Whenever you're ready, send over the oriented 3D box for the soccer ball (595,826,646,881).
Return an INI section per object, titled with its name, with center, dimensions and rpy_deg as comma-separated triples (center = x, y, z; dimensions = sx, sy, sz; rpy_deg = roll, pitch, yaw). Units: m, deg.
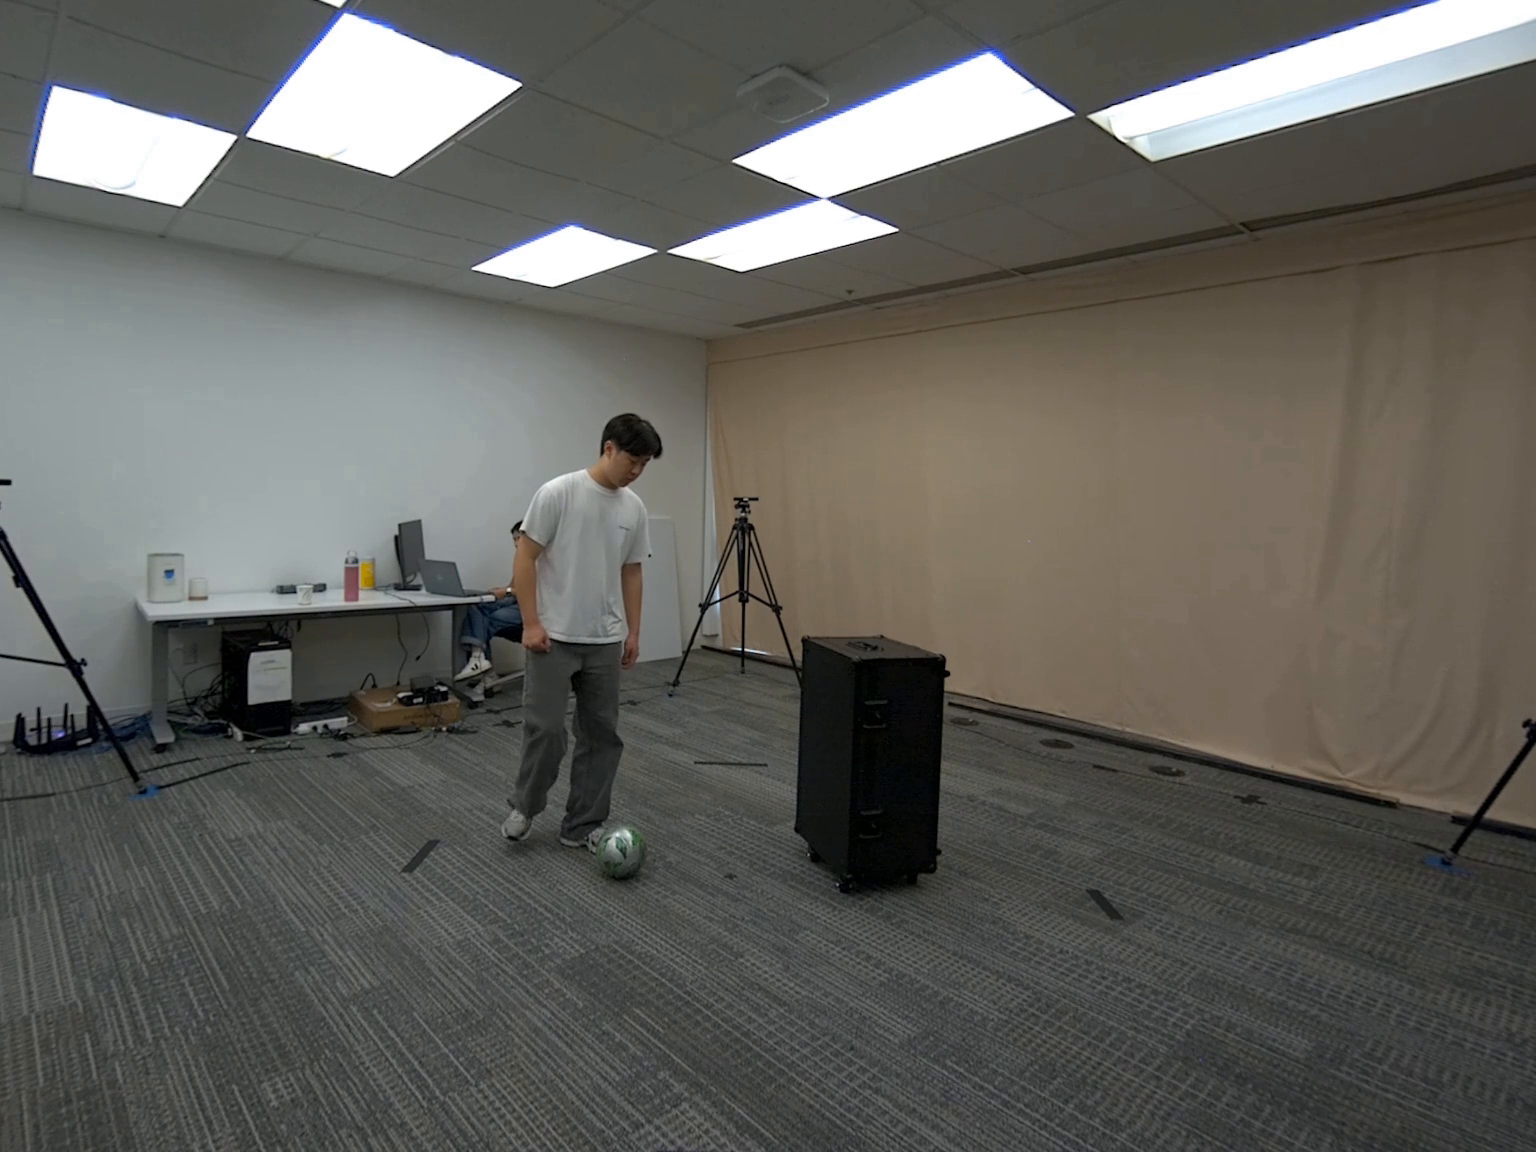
[soccer ball]
center = -0.538, 1.006, 3.082
dimensions = 0.187, 0.187, 0.188
rpy_deg = 1, 4, -1
